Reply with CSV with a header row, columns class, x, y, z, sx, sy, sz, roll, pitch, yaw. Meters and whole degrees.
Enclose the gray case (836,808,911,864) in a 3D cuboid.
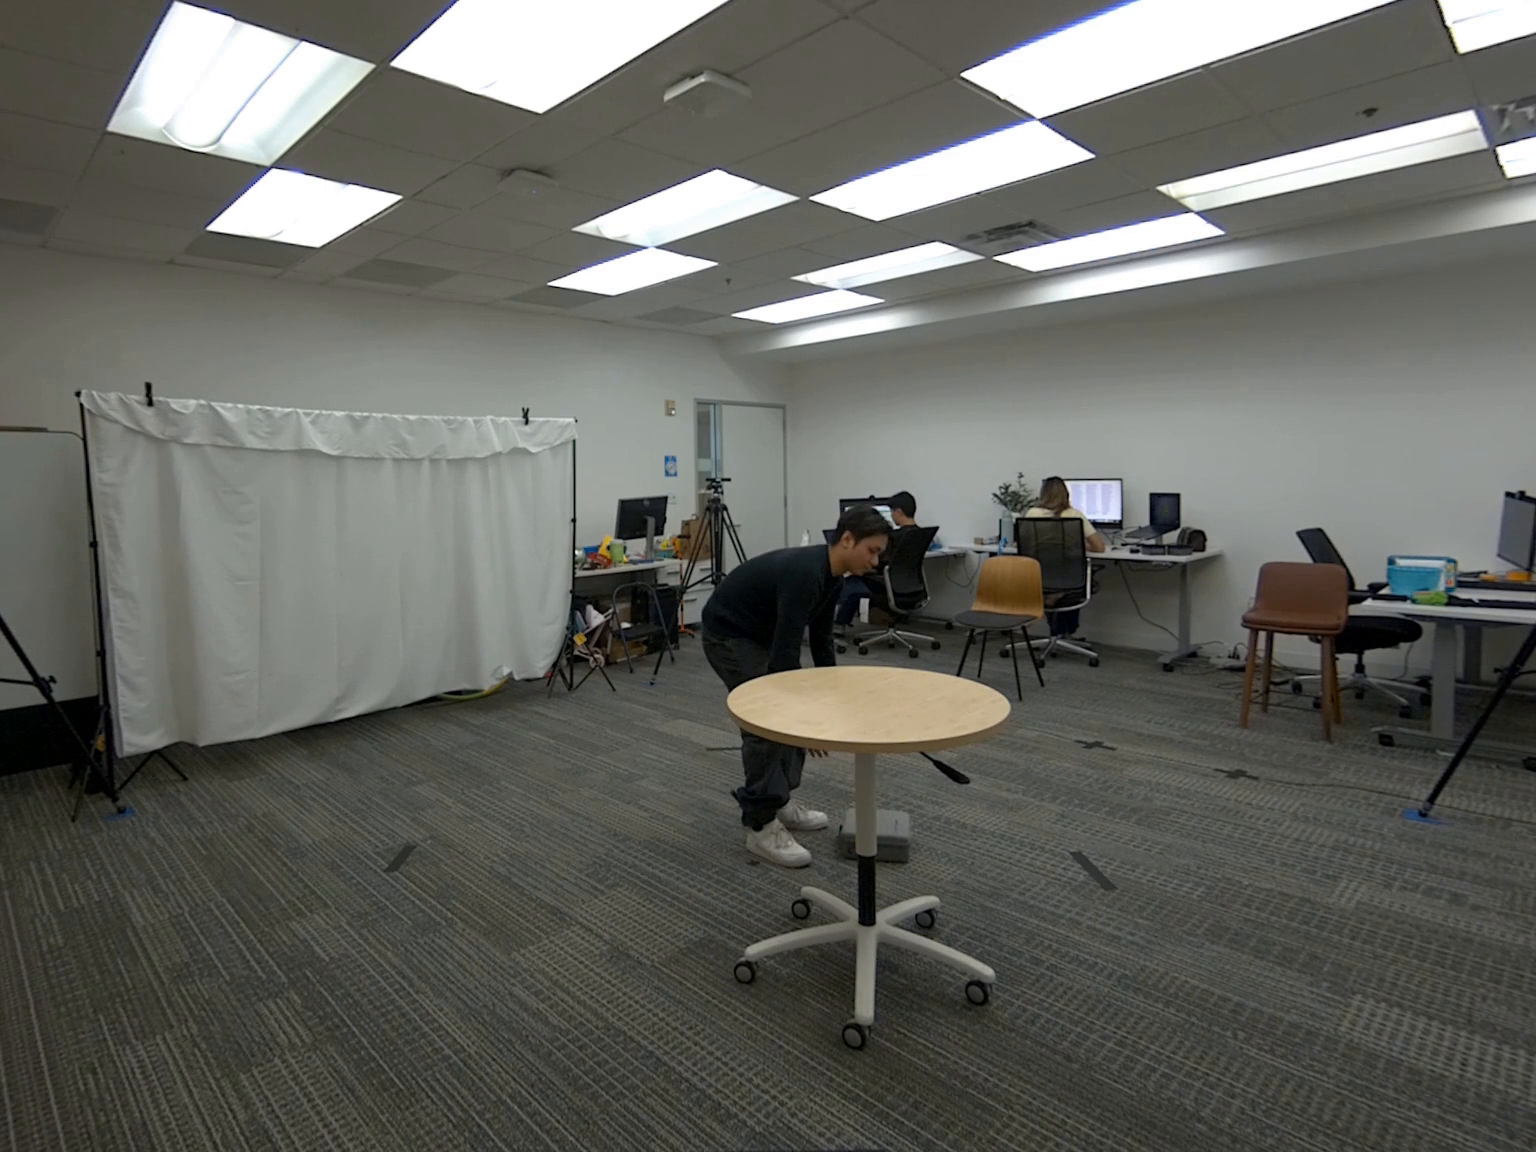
class,x,y,z,sx,sy,sz,roll,pitch,yaw
gray case,0.401,0.958,3.204,0.264,0.104,0.255,0,6,13
